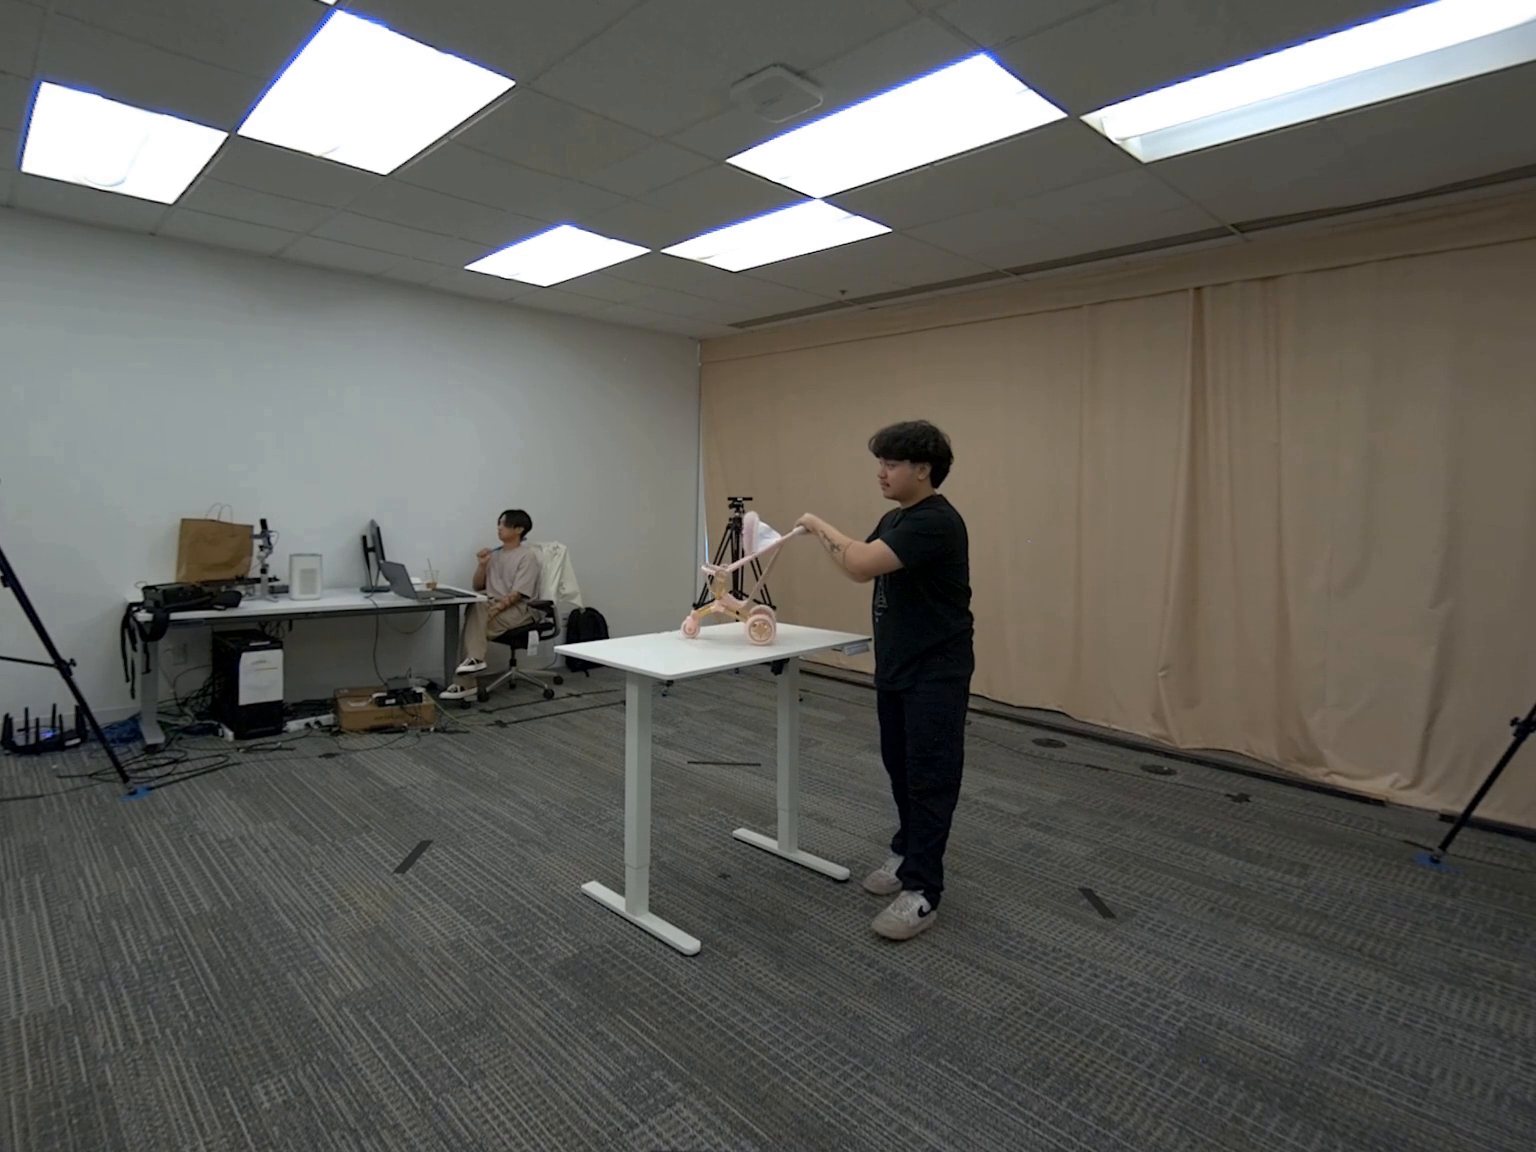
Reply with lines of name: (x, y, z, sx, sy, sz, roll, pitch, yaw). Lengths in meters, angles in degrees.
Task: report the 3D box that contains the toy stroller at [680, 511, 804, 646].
toy stroller: (-0.092, 0.009, 3.034, 0.343, 0.533, 0.280, 17, 5, 6)
